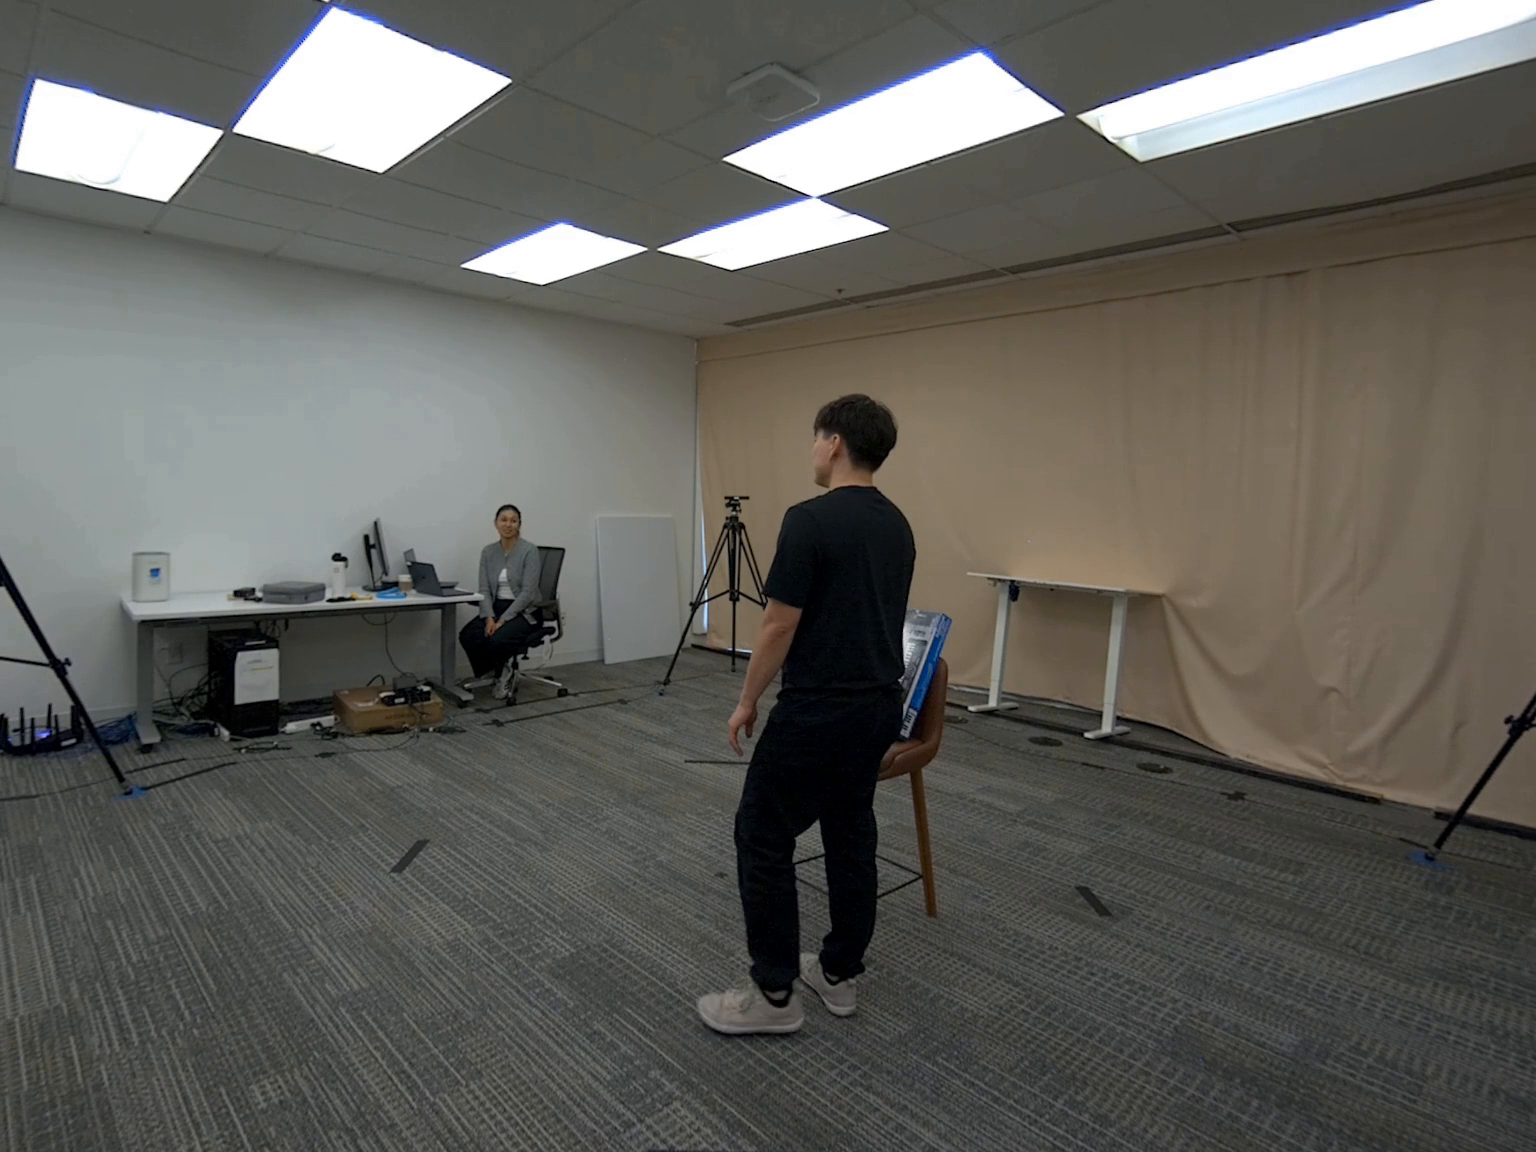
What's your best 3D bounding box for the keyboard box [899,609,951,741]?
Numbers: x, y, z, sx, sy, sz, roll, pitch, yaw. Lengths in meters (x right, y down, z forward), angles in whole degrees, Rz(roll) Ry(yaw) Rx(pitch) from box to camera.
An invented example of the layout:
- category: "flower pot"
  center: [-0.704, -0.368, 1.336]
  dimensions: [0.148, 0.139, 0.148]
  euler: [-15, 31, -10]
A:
- category: "keyboard box"
  center: [0.464, 0.328, 2.838]
  dimensions: [0.057, 0.439, 0.180]
  euler: [32, -15, -32]
